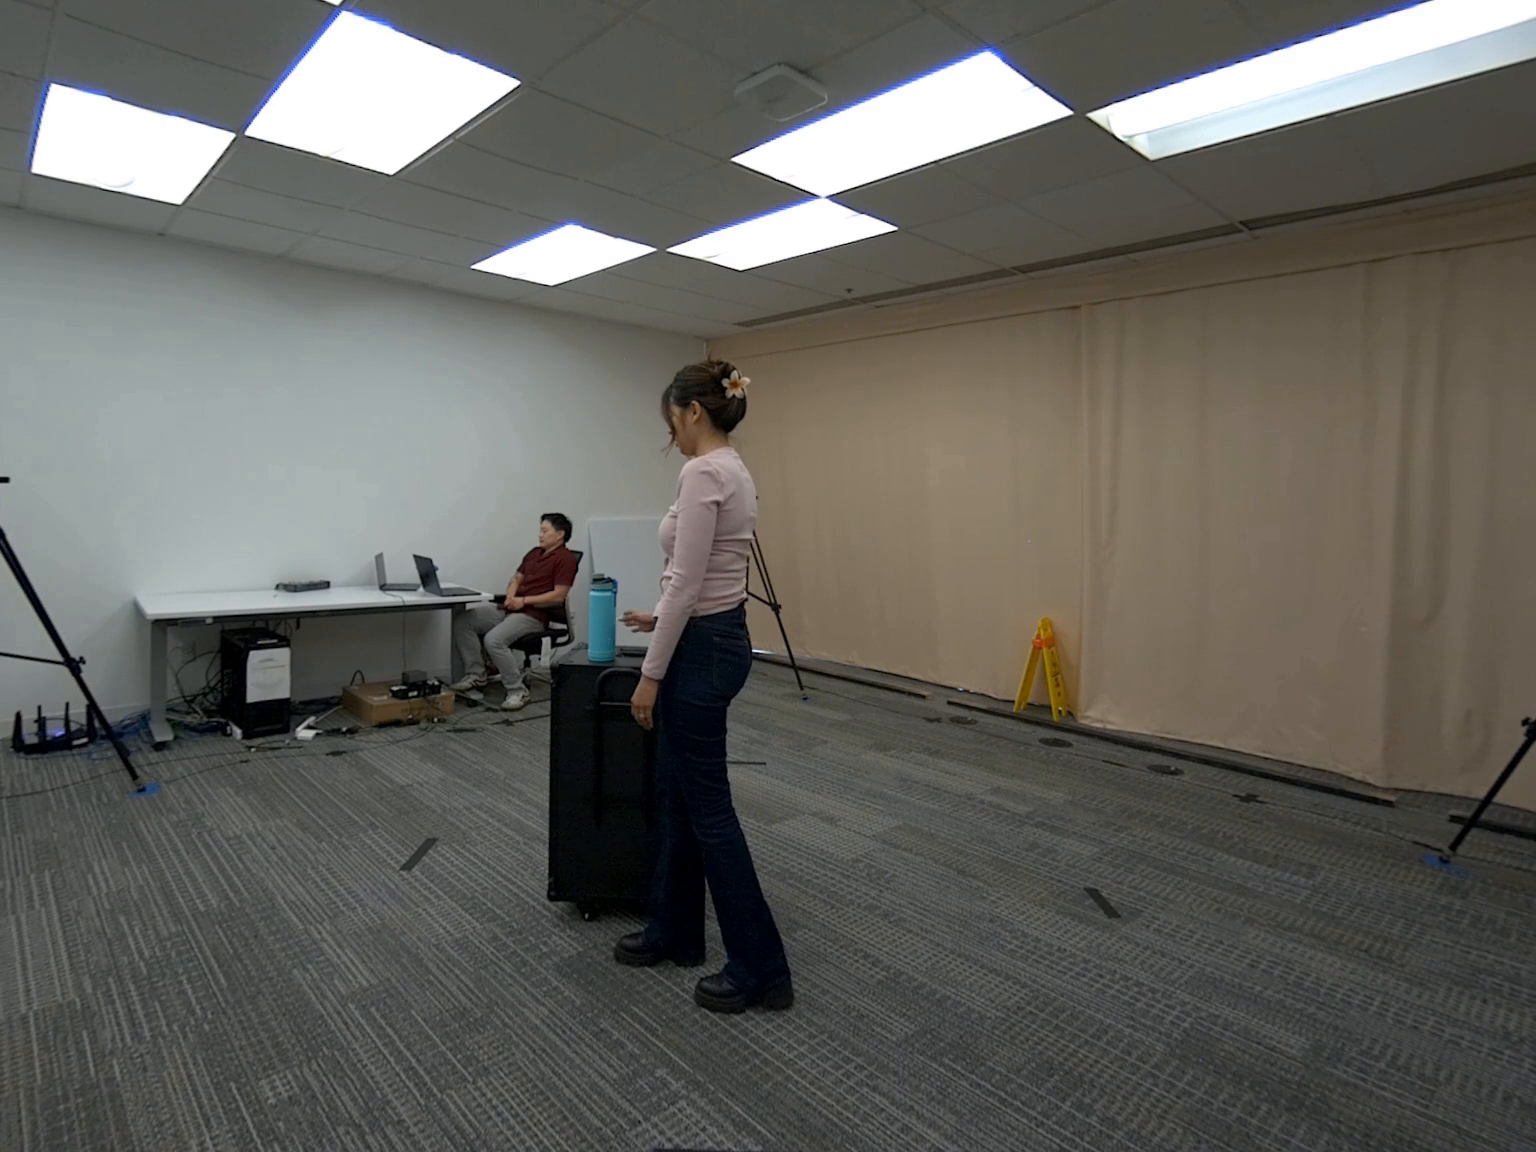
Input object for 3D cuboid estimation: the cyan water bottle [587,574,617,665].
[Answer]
[{"bbox_3d":[-0.553,0.135,2.769,0.092,0.283,0.092,4,0,-1],"label":"cyan water bottle"}]
